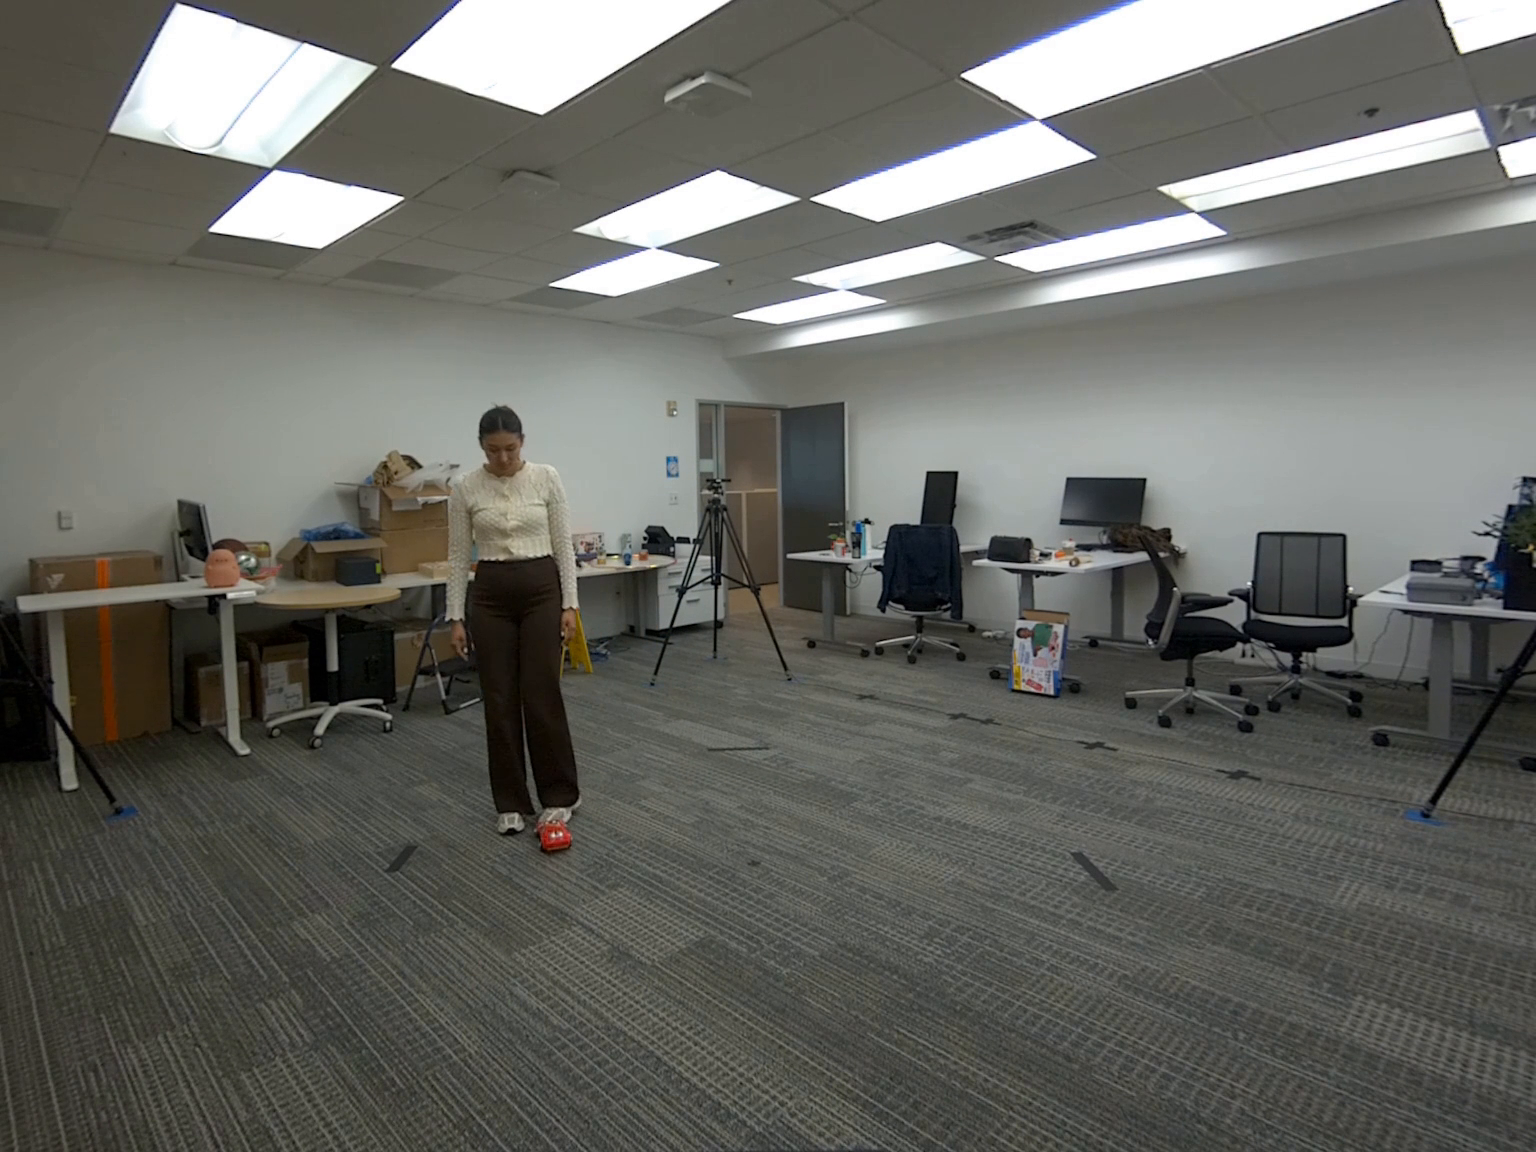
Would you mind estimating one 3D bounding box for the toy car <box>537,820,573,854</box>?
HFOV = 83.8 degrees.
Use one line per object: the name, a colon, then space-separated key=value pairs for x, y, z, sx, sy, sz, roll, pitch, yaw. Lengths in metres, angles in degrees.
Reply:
toy car: x=-0.827 y=1.006 z=3.294 sx=0.128 sy=0.084 sz=0.257 roll=-3 pitch=-4 yaw=-20
